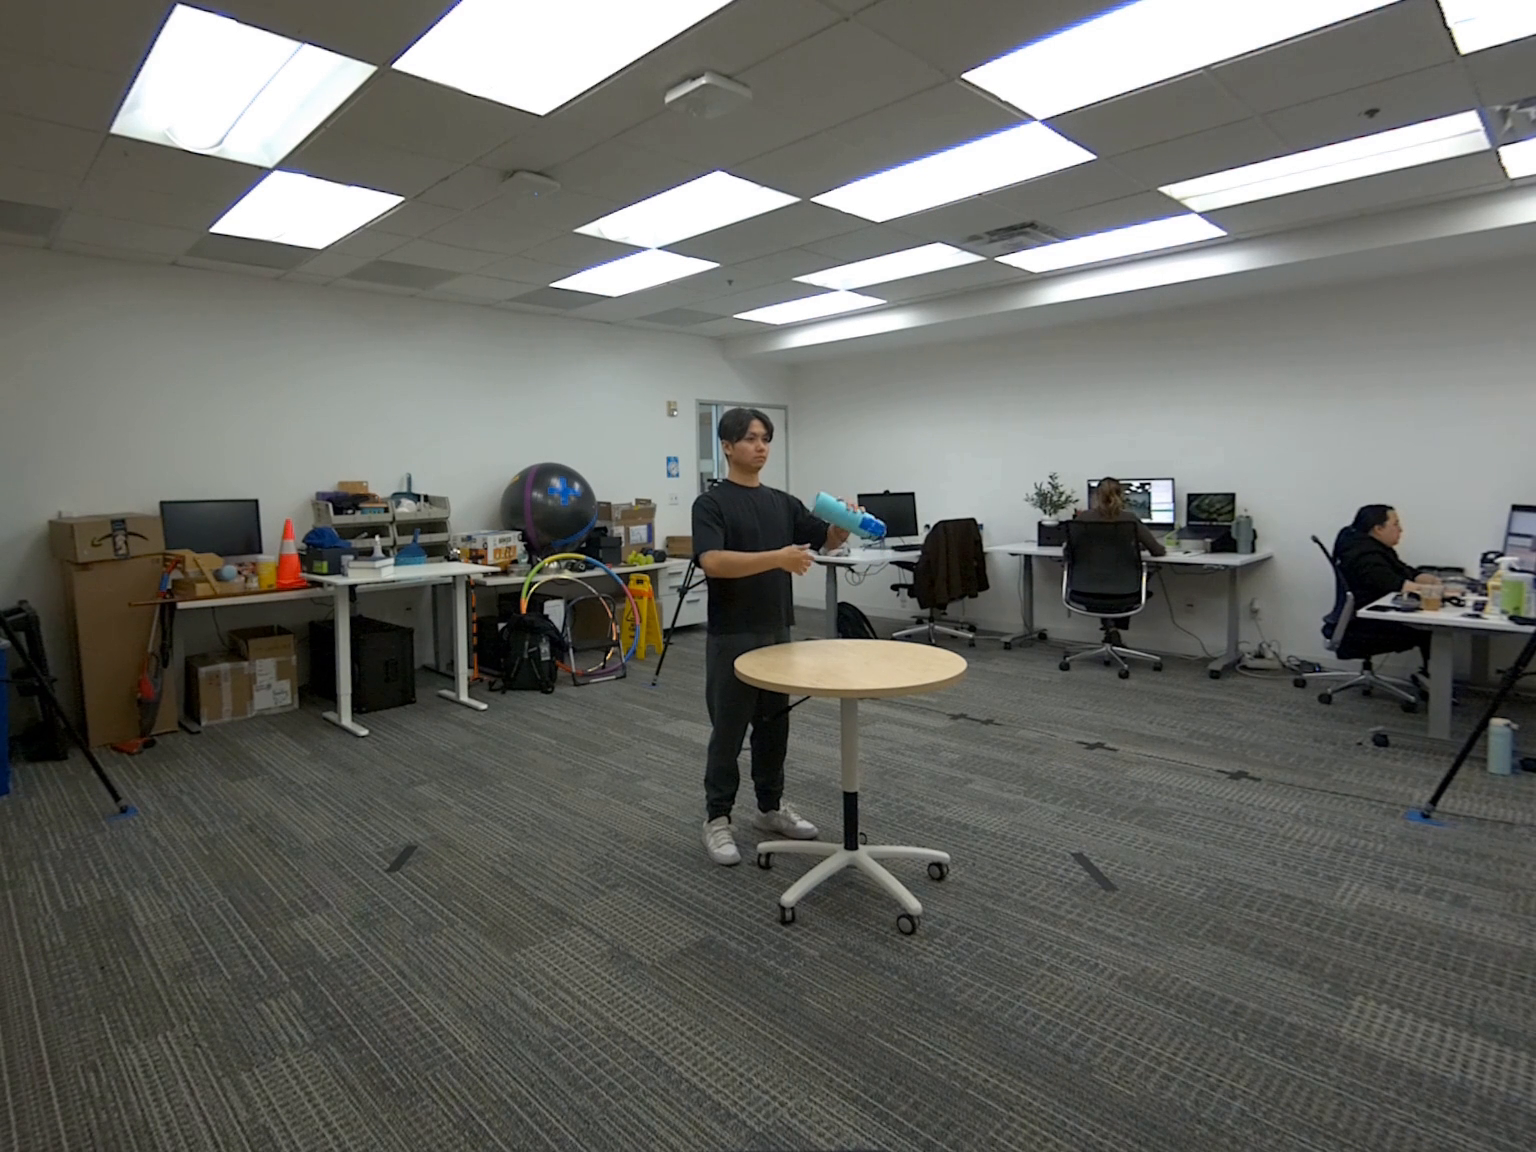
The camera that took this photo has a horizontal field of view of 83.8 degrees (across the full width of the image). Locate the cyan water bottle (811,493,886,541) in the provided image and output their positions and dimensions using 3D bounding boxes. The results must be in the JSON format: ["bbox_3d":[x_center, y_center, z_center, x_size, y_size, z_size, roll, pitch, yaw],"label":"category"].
[{"bbox_3d":[0.293,-0.197,3.100,0.282,0.092,0.093,25,3,-3],"label":"cyan water bottle"}]
